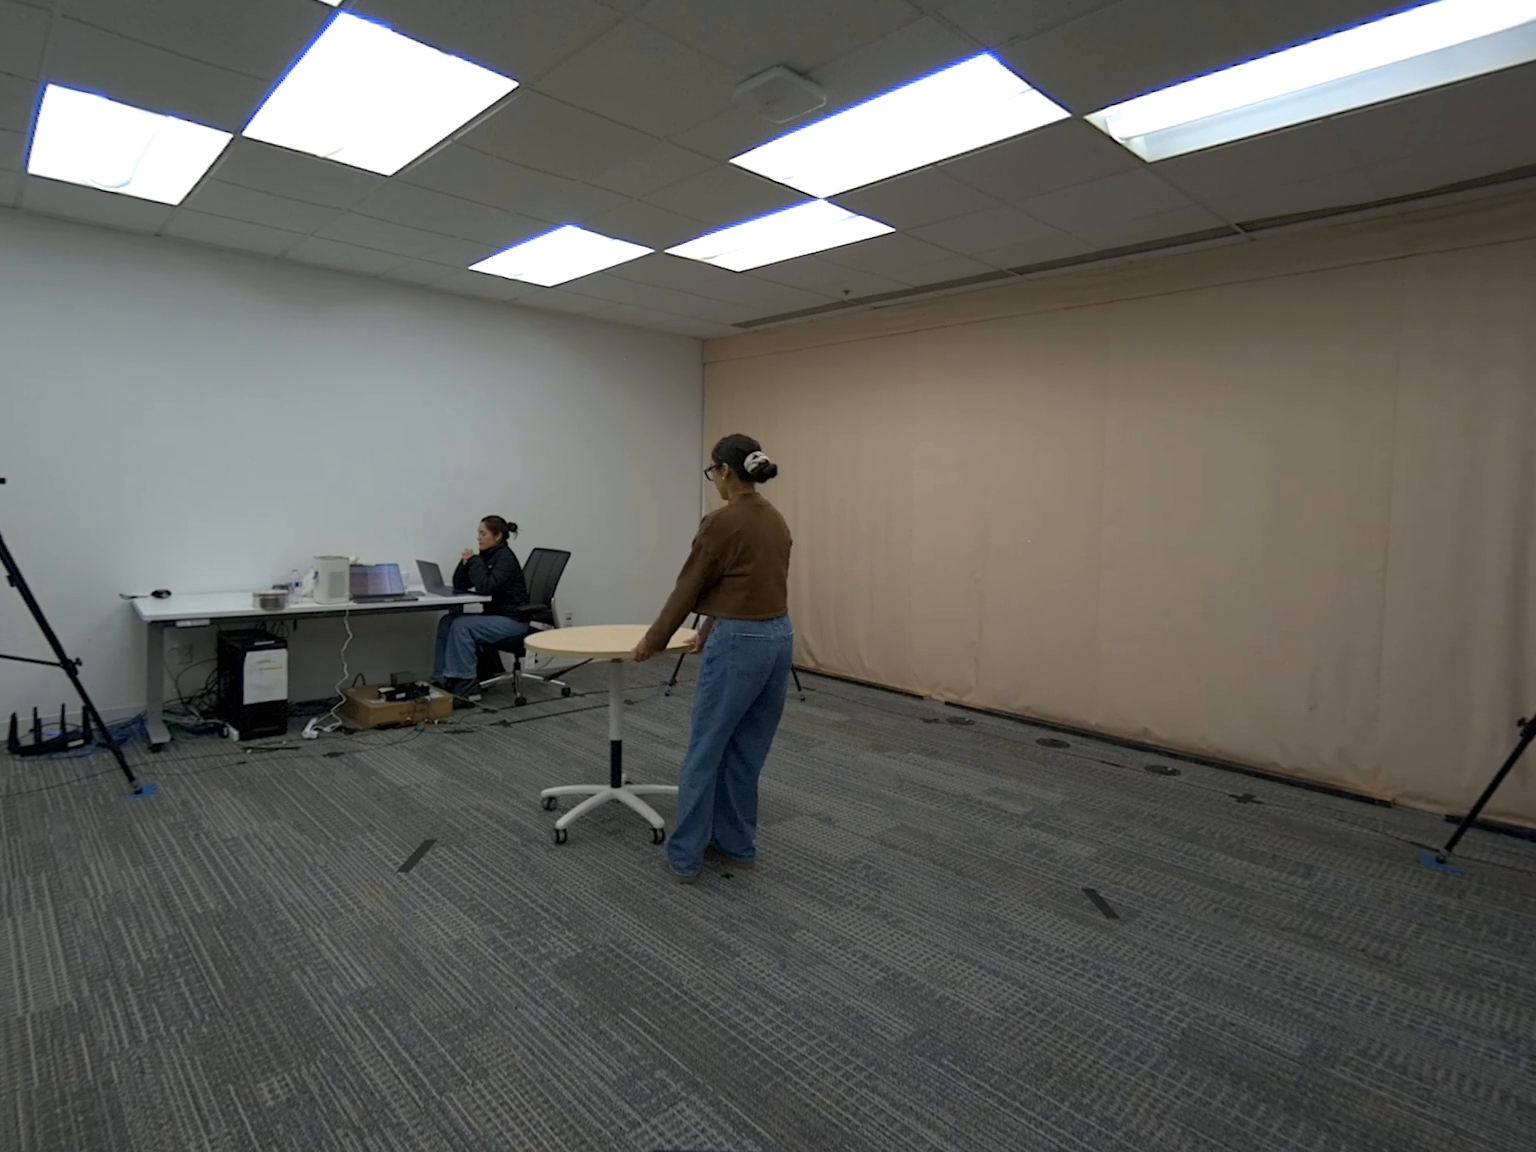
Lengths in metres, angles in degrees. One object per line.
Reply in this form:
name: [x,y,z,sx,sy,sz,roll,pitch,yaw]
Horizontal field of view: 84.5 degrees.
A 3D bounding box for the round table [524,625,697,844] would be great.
round table: [-0.622,0.654,3.592,0.784,0.785,0.787,0,3,-1]
